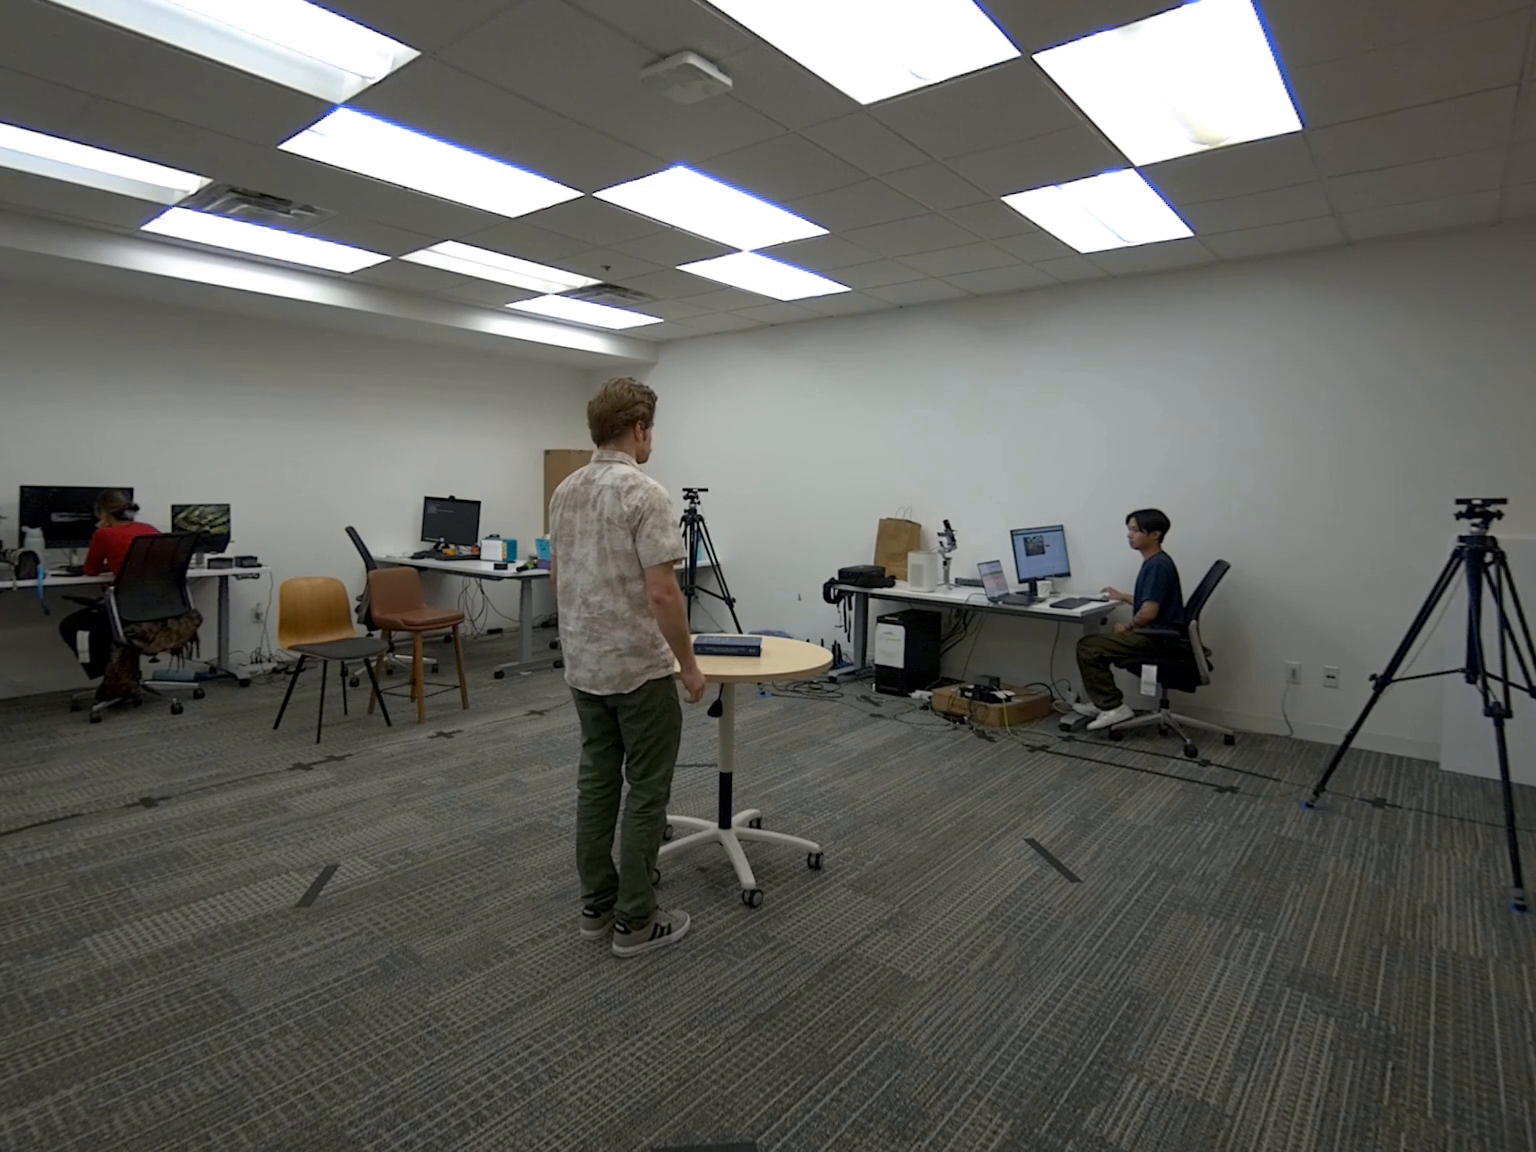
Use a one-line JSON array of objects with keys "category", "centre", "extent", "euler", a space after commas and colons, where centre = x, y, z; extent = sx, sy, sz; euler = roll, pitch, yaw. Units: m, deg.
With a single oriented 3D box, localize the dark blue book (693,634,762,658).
[{"category": "dark blue book", "centre": [-0.155, 0.254, 3.123], "extent": [0.246, 0.045, 0.163], "euler": [1, 6, 4]}]
